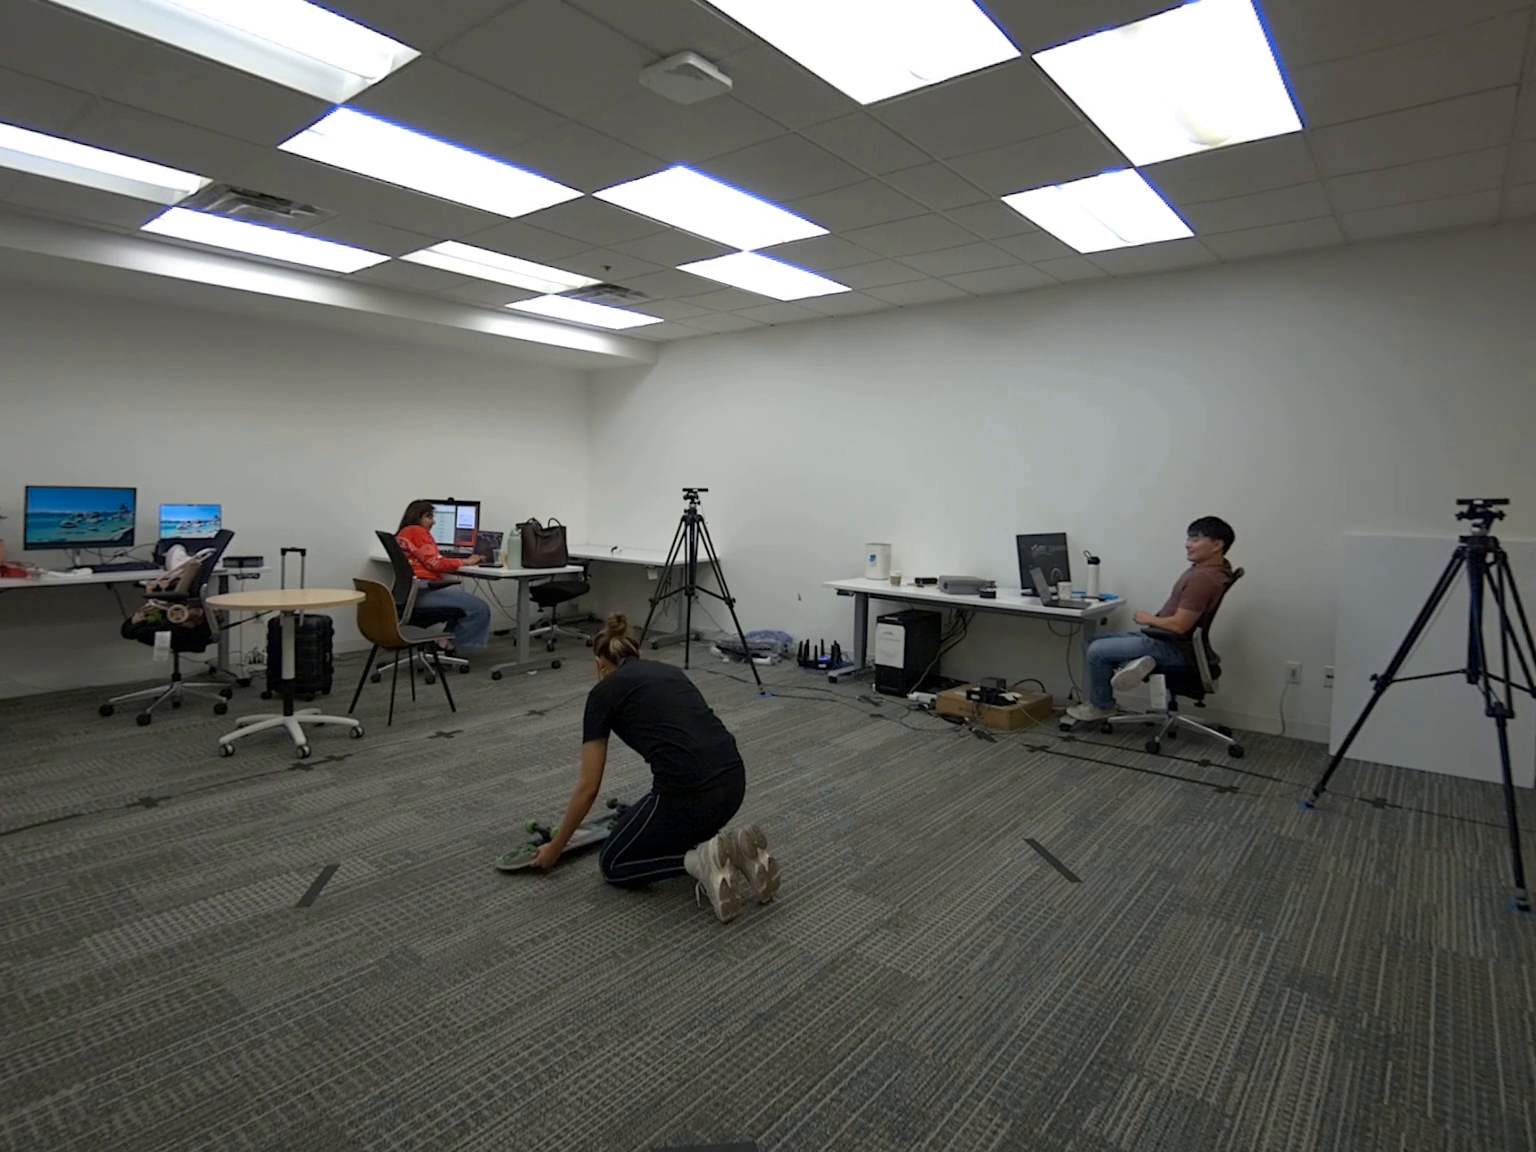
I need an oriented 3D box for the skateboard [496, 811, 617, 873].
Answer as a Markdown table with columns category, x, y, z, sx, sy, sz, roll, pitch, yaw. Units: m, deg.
| category | x | y | z | sx | sy | sz | roll | pitch | yaw |
| --- | --- | --- | --- | --- | --- | --- | --- | --- | --- |
| skateboard | -0.721 | 0.969 | 3.325 | 0.199 | 0.110 | 0.761 | -3 | 0 | 42 |
